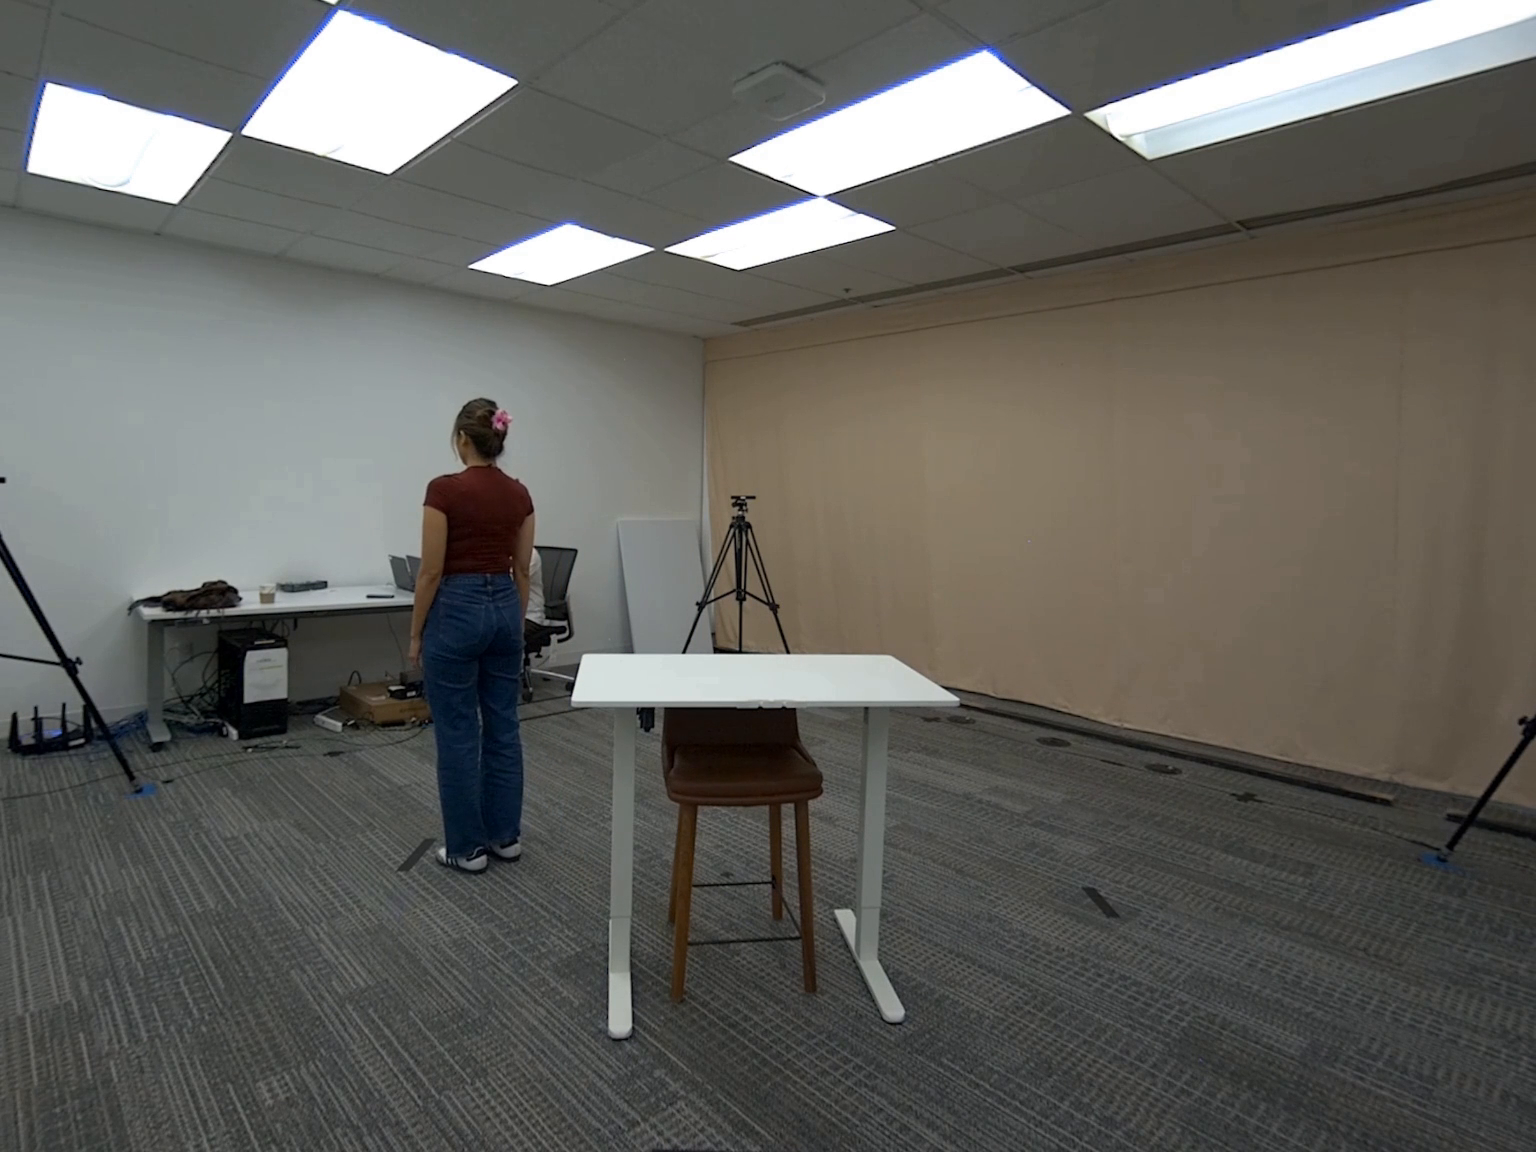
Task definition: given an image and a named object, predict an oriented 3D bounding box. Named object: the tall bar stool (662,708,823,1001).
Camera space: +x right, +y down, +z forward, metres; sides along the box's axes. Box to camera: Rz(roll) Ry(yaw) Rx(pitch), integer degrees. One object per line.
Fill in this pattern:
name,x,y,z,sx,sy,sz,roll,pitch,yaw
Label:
tall bar stool,-0.104,0.732,2.539,0.454,0.888,0.471,-1,3,-7
